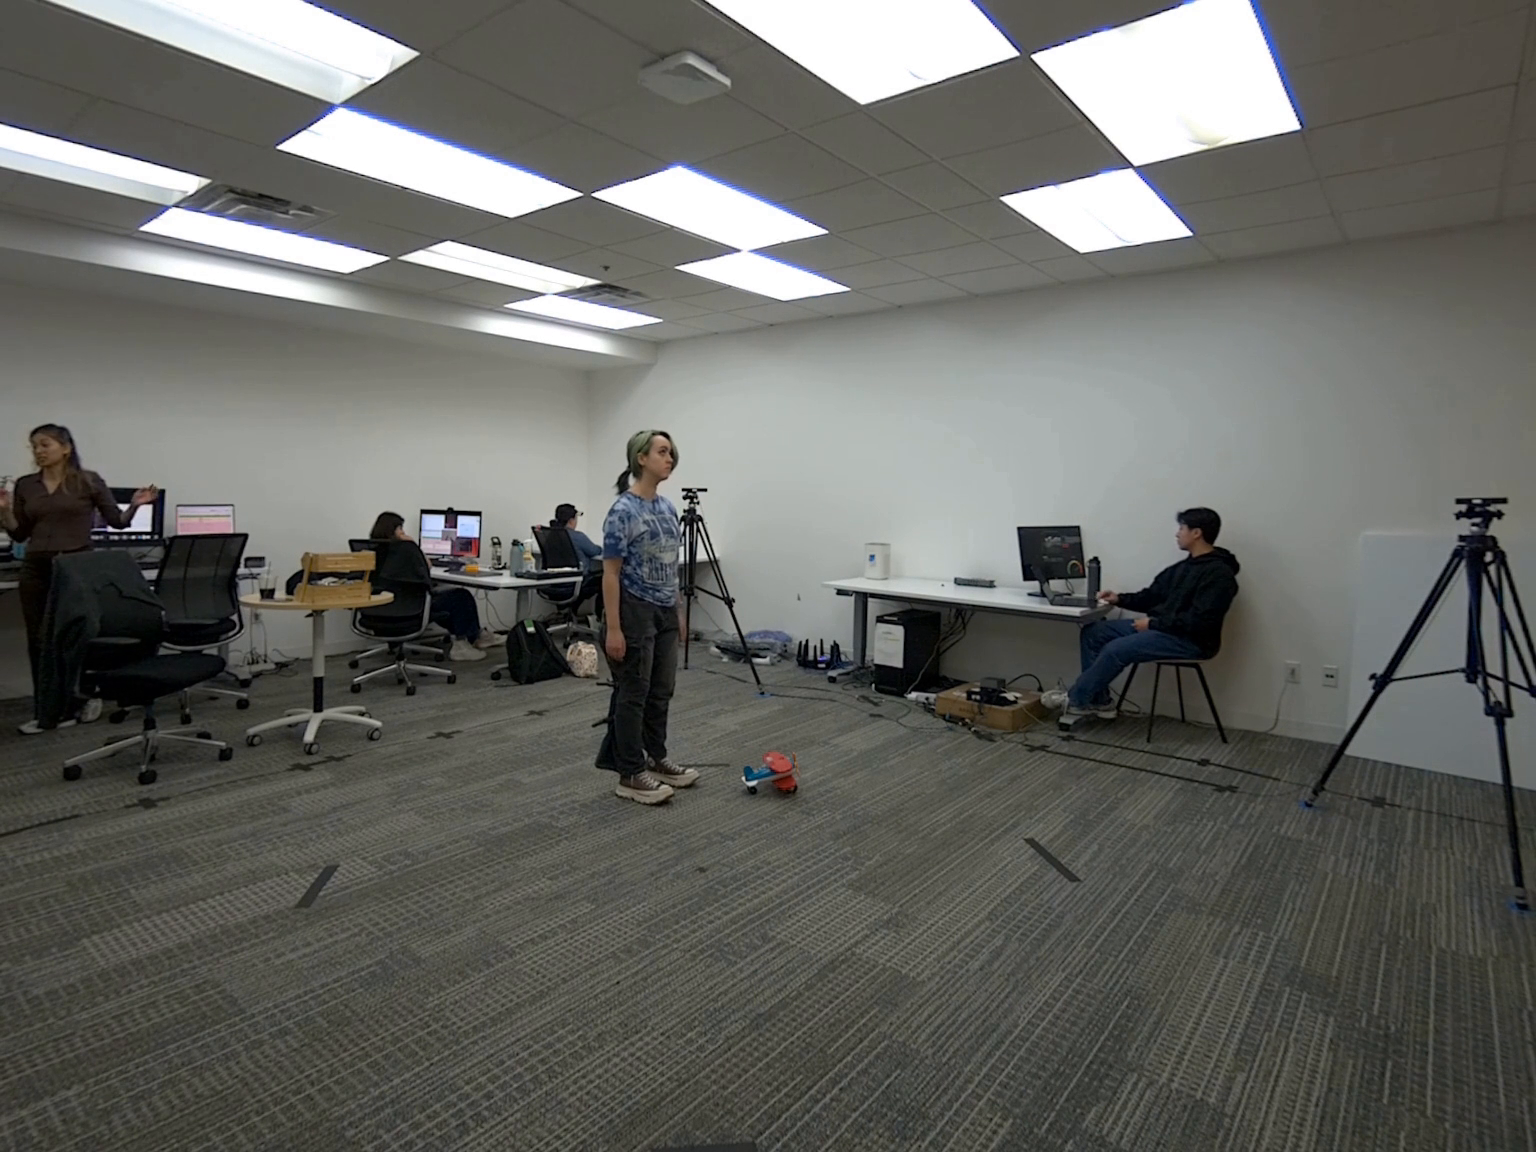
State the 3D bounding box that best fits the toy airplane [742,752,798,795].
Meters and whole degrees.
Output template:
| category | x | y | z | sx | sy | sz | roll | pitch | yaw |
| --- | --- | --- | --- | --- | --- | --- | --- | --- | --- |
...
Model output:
| category | x | y | z | sx | sy | sz | roll | pitch | yaw |
| --- | --- | --- | --- | --- | --- | --- | --- | --- | --- |
| toy airplane | 0.010 | 0.926 | 3.916 | 0.251 | 0.156 | 0.260 | -2 | 5 | -44 |
